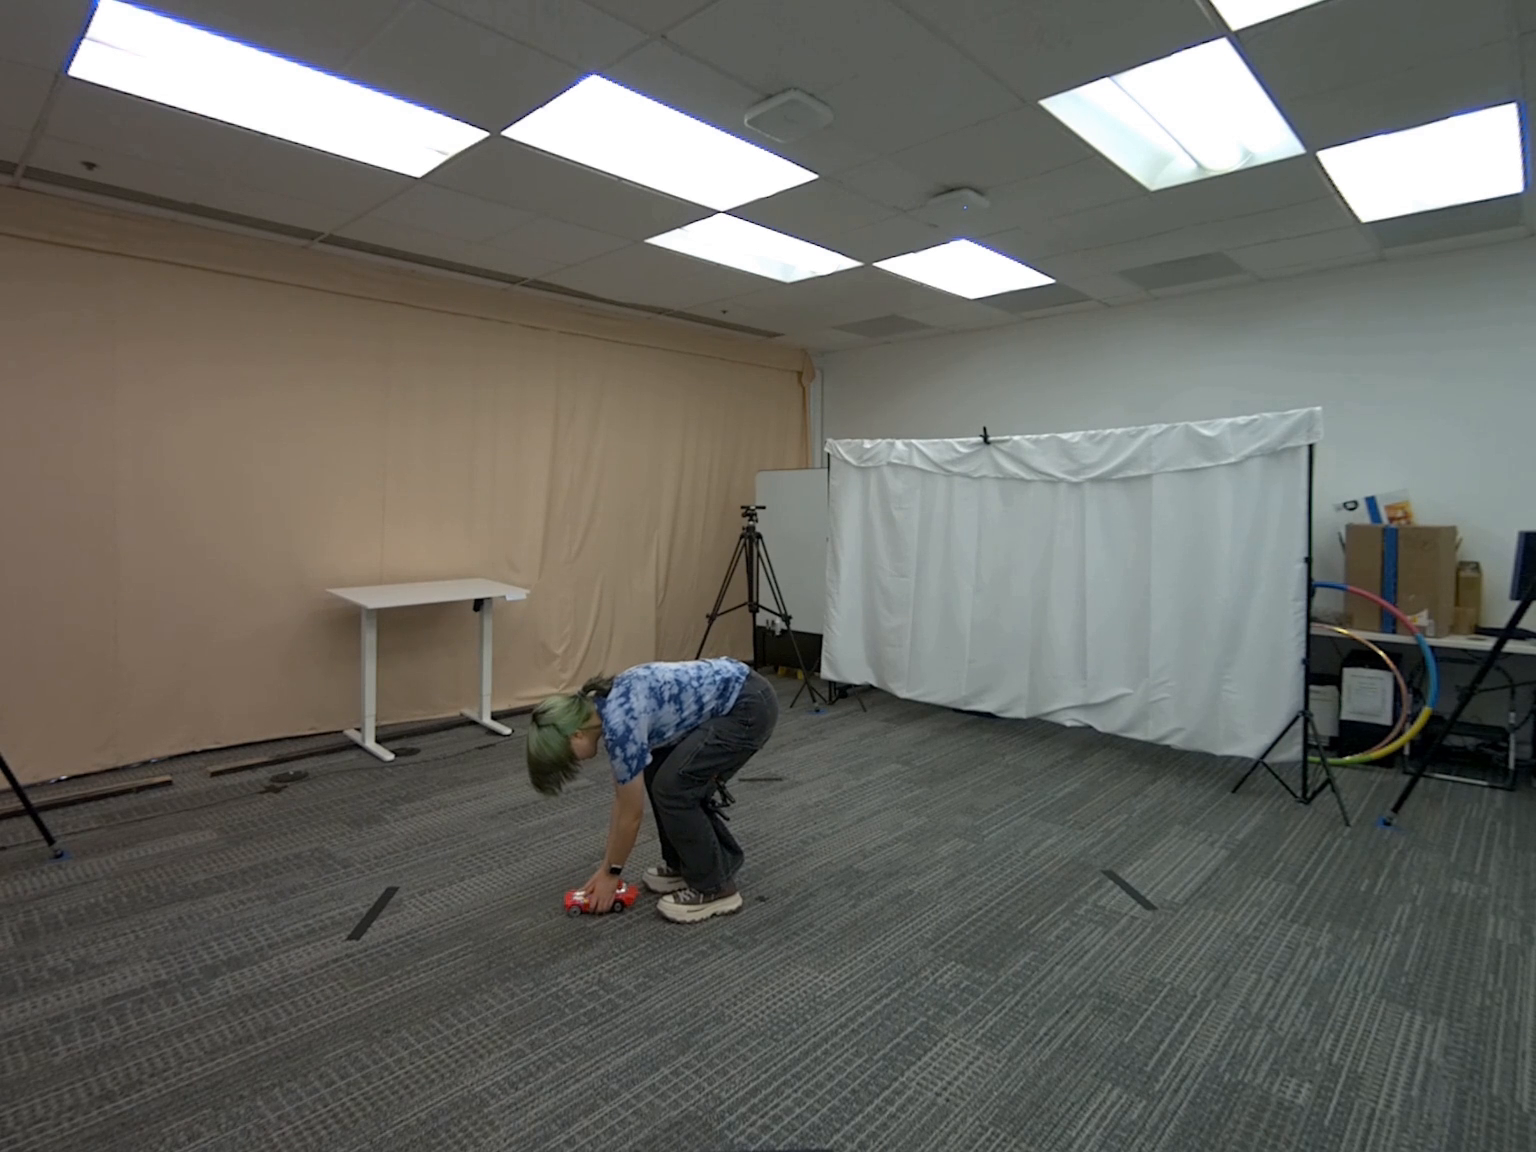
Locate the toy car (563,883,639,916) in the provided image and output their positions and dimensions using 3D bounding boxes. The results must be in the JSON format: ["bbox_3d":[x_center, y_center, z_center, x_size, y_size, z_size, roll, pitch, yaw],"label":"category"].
[{"bbox_3d":[-0.575,1.128,2.928,0.253,0.083,0.131,-11,5,-7],"label":"toy car"}]
